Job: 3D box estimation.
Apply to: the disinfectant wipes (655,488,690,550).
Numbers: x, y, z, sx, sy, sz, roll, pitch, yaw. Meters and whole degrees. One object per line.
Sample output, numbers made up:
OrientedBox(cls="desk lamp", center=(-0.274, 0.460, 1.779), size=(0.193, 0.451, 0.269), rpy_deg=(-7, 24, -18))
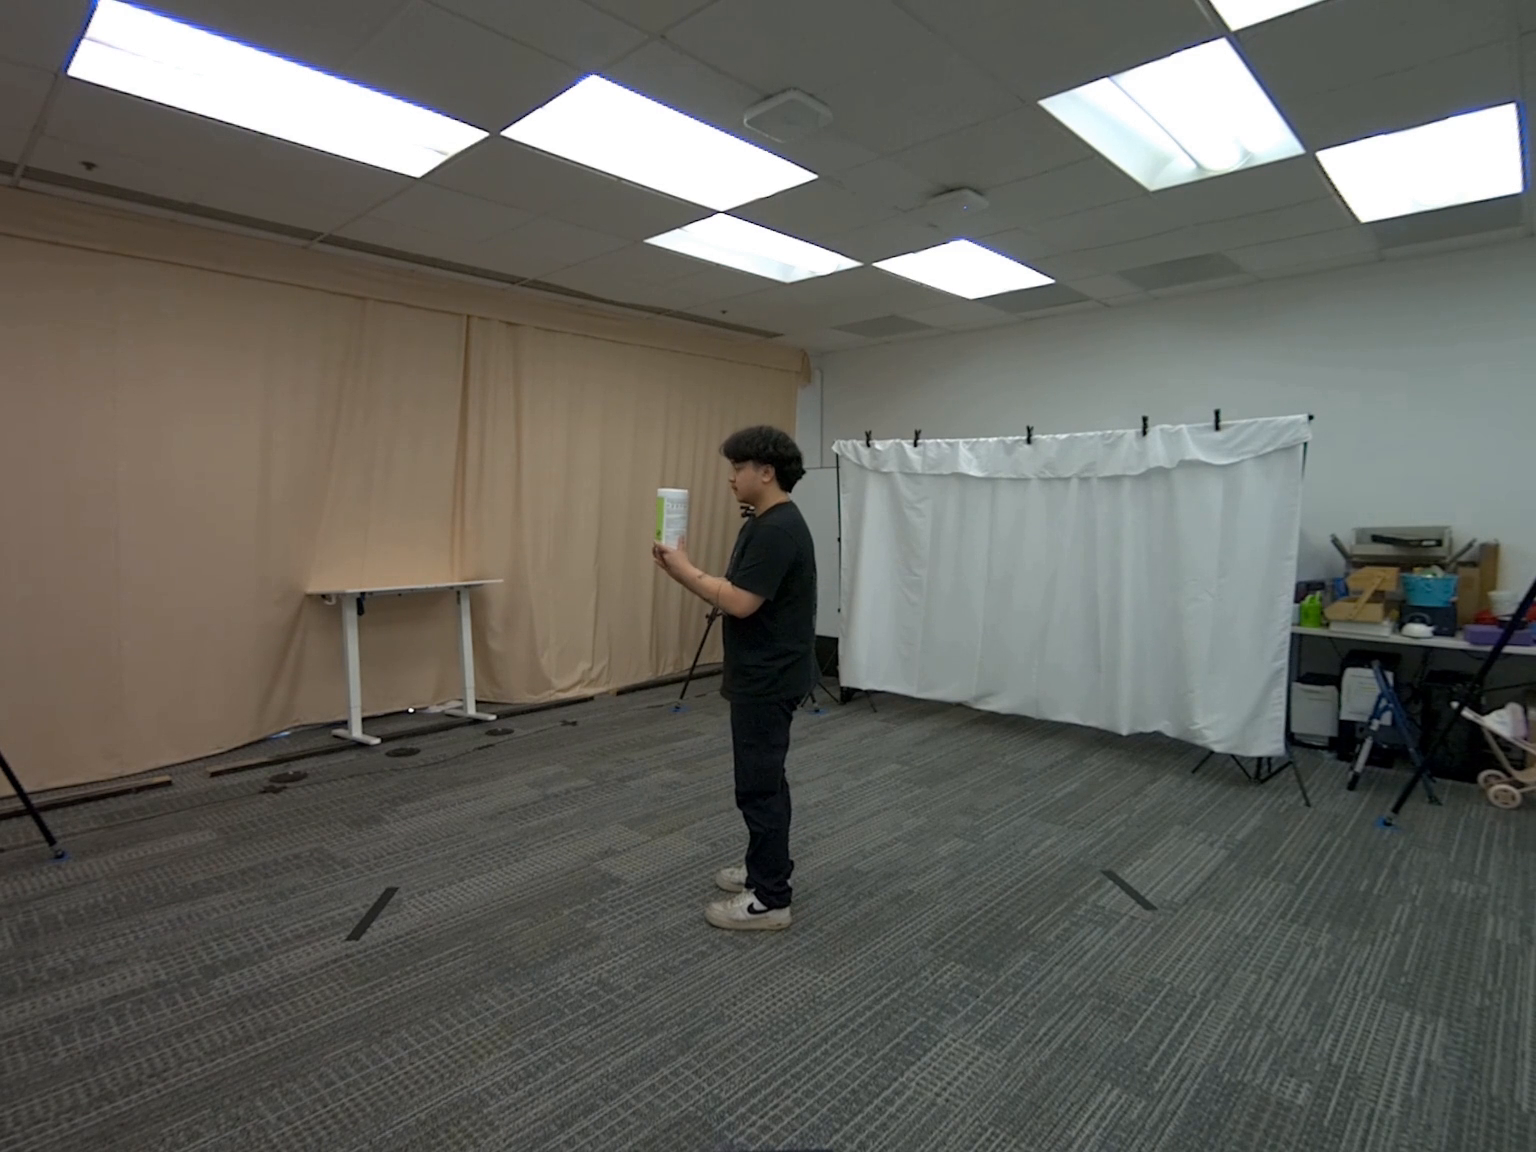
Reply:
OrientedBox(cls="disinfectant wipes", center=(-0.328, -0.194, 2.938), size=(0.117, 0.217, 0.118), rpy_deg=(2, 5, -2))
